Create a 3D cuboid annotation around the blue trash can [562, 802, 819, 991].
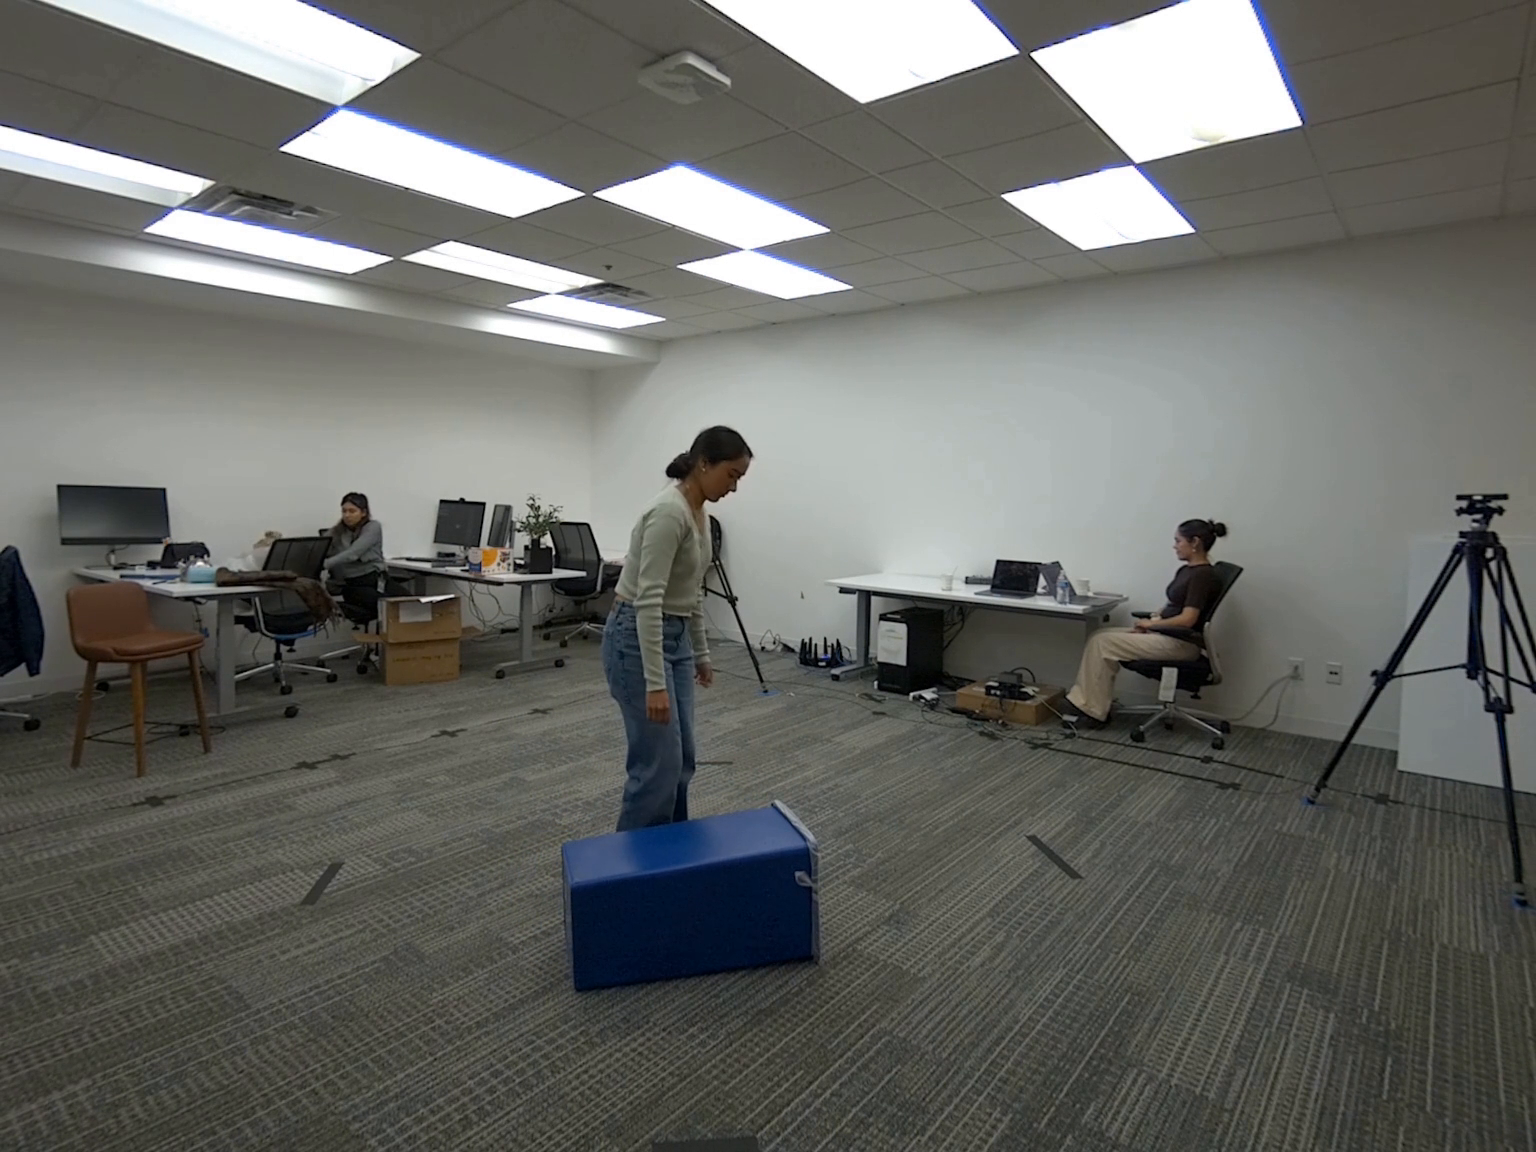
[{"bbox_3d":[-0.248,0.942,2.556,0.703,0.376,0.381,-3,5,-15],"label":"blue trash can"}]
